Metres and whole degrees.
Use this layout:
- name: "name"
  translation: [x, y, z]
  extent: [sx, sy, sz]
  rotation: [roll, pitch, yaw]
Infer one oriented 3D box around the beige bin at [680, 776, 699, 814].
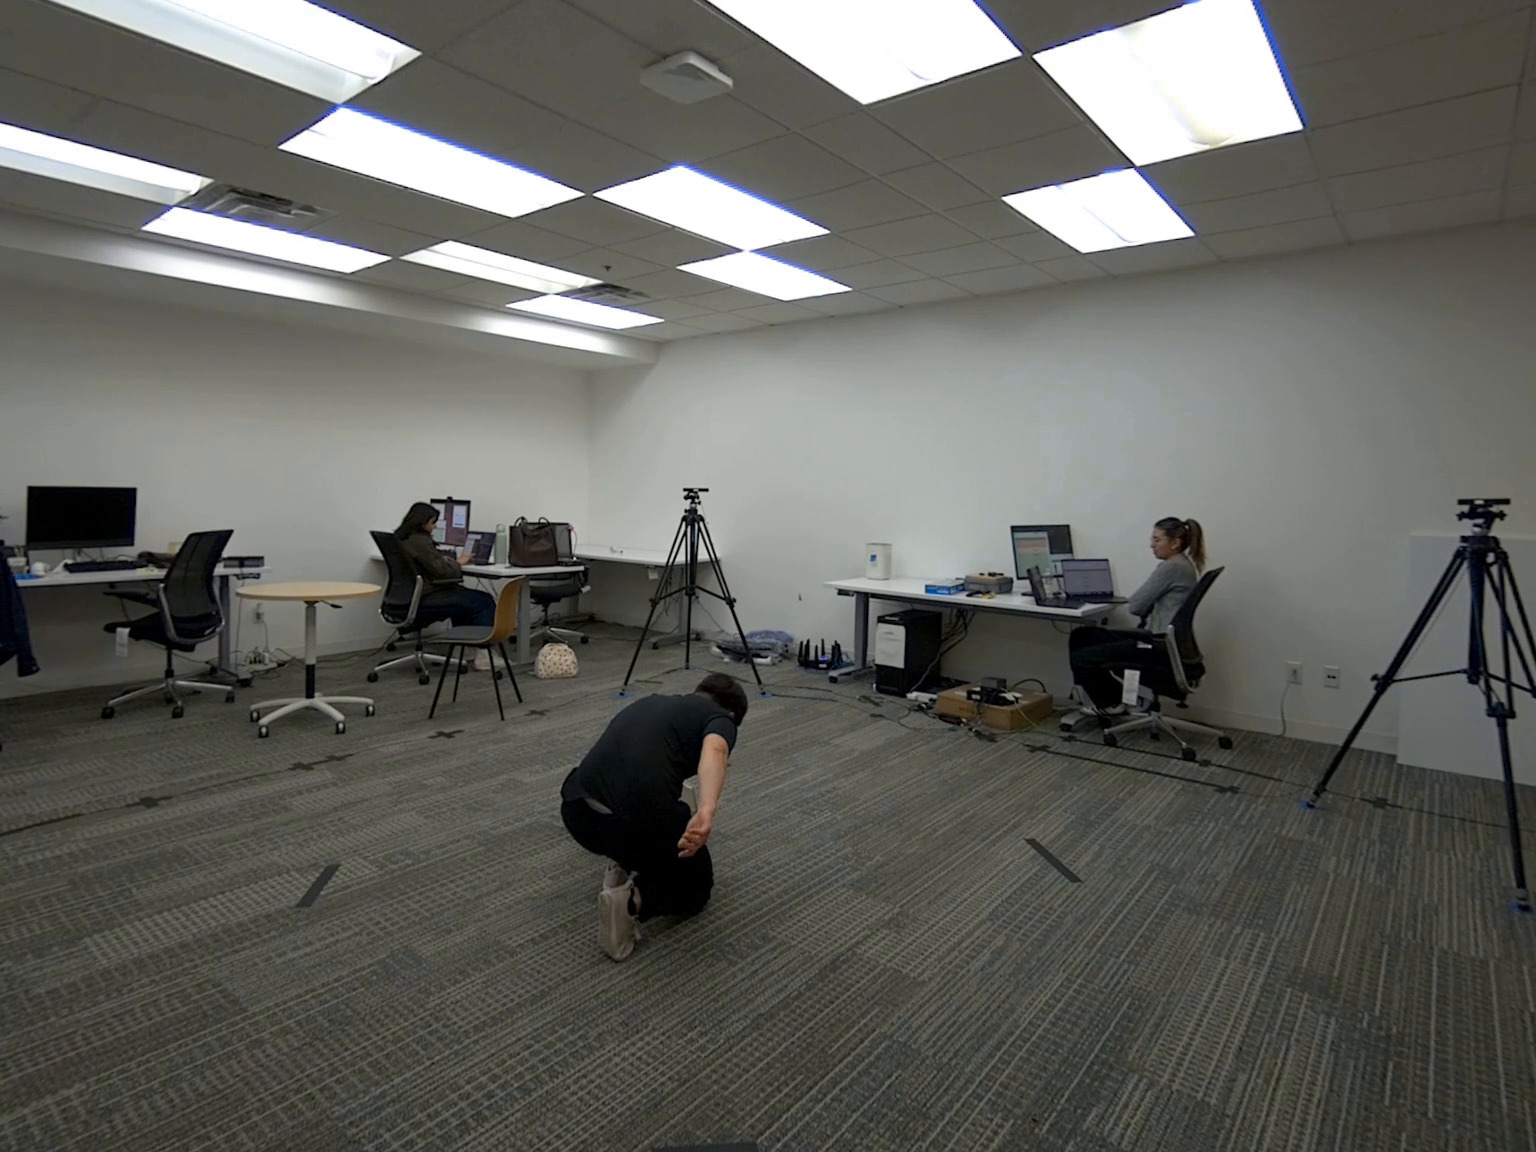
- name: "beige bin"
  translation: [-0.569, 0.932, 3.479]
  extent: [0.410, 0.188, 0.390]
  rotation: [-4, 6, -37]
